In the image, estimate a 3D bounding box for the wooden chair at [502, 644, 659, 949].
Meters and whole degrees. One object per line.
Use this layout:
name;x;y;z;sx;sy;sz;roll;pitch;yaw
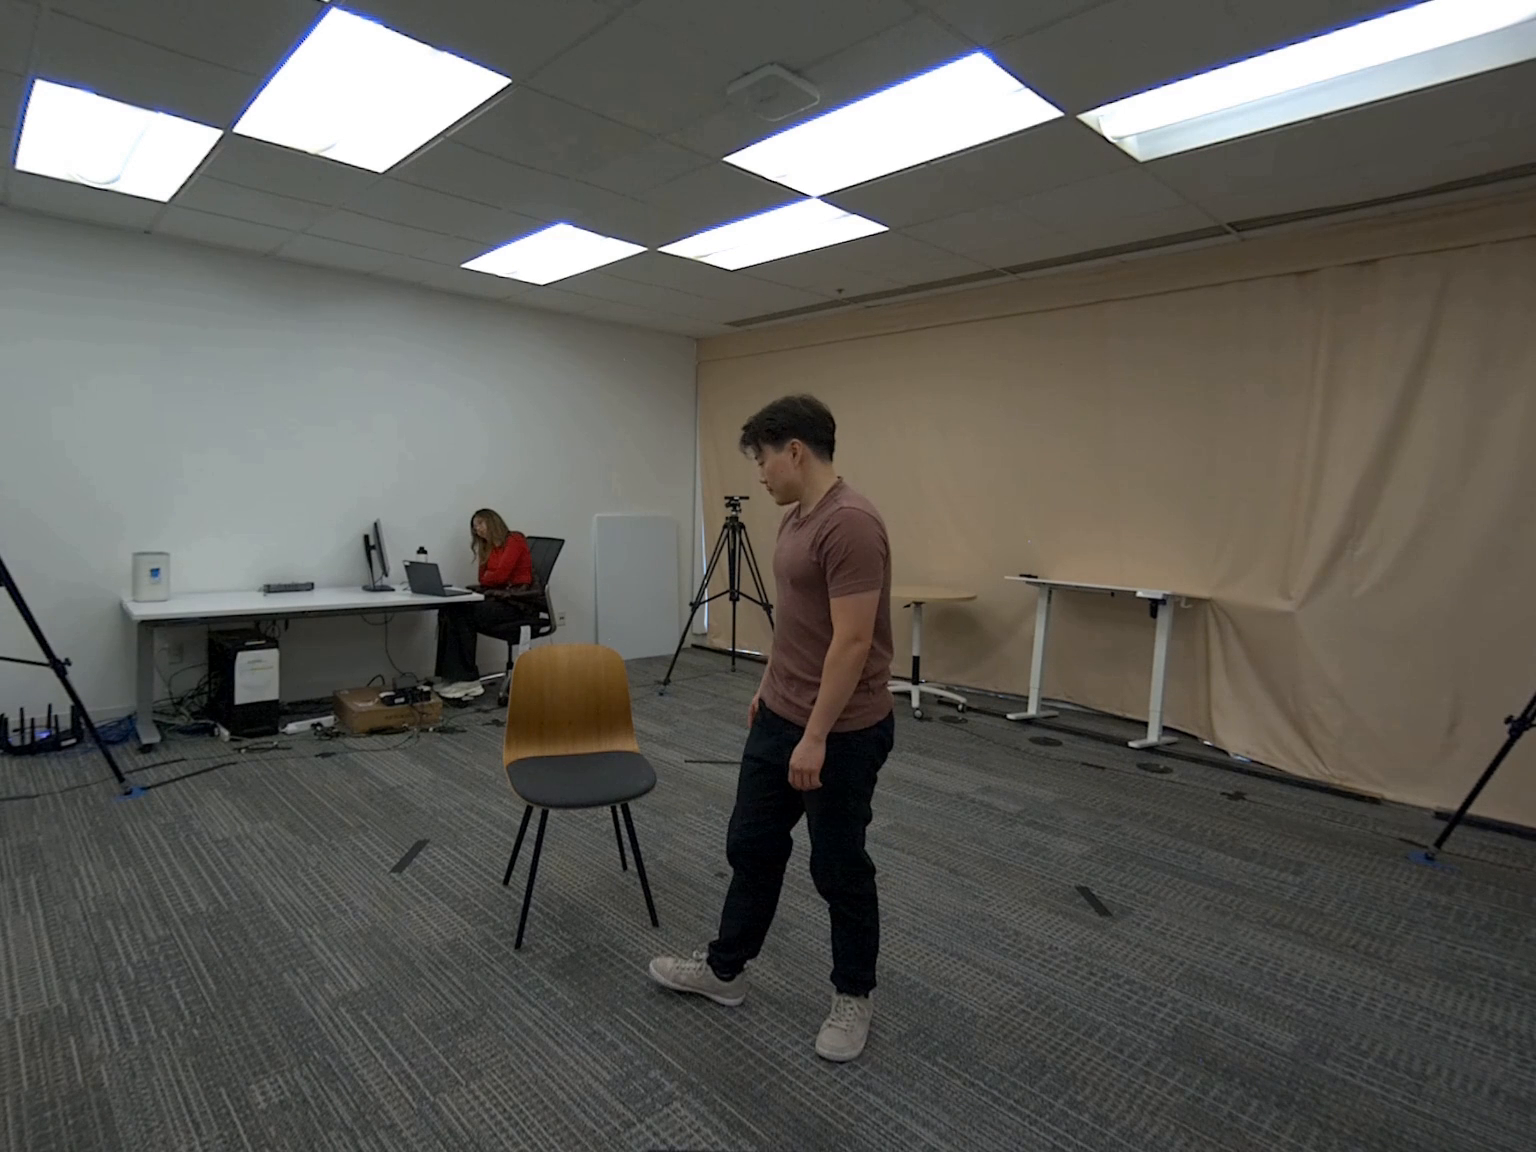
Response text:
wooden chair;-0.633;0.693;2.809;0.470;0.878;0.531;0;0;-21
